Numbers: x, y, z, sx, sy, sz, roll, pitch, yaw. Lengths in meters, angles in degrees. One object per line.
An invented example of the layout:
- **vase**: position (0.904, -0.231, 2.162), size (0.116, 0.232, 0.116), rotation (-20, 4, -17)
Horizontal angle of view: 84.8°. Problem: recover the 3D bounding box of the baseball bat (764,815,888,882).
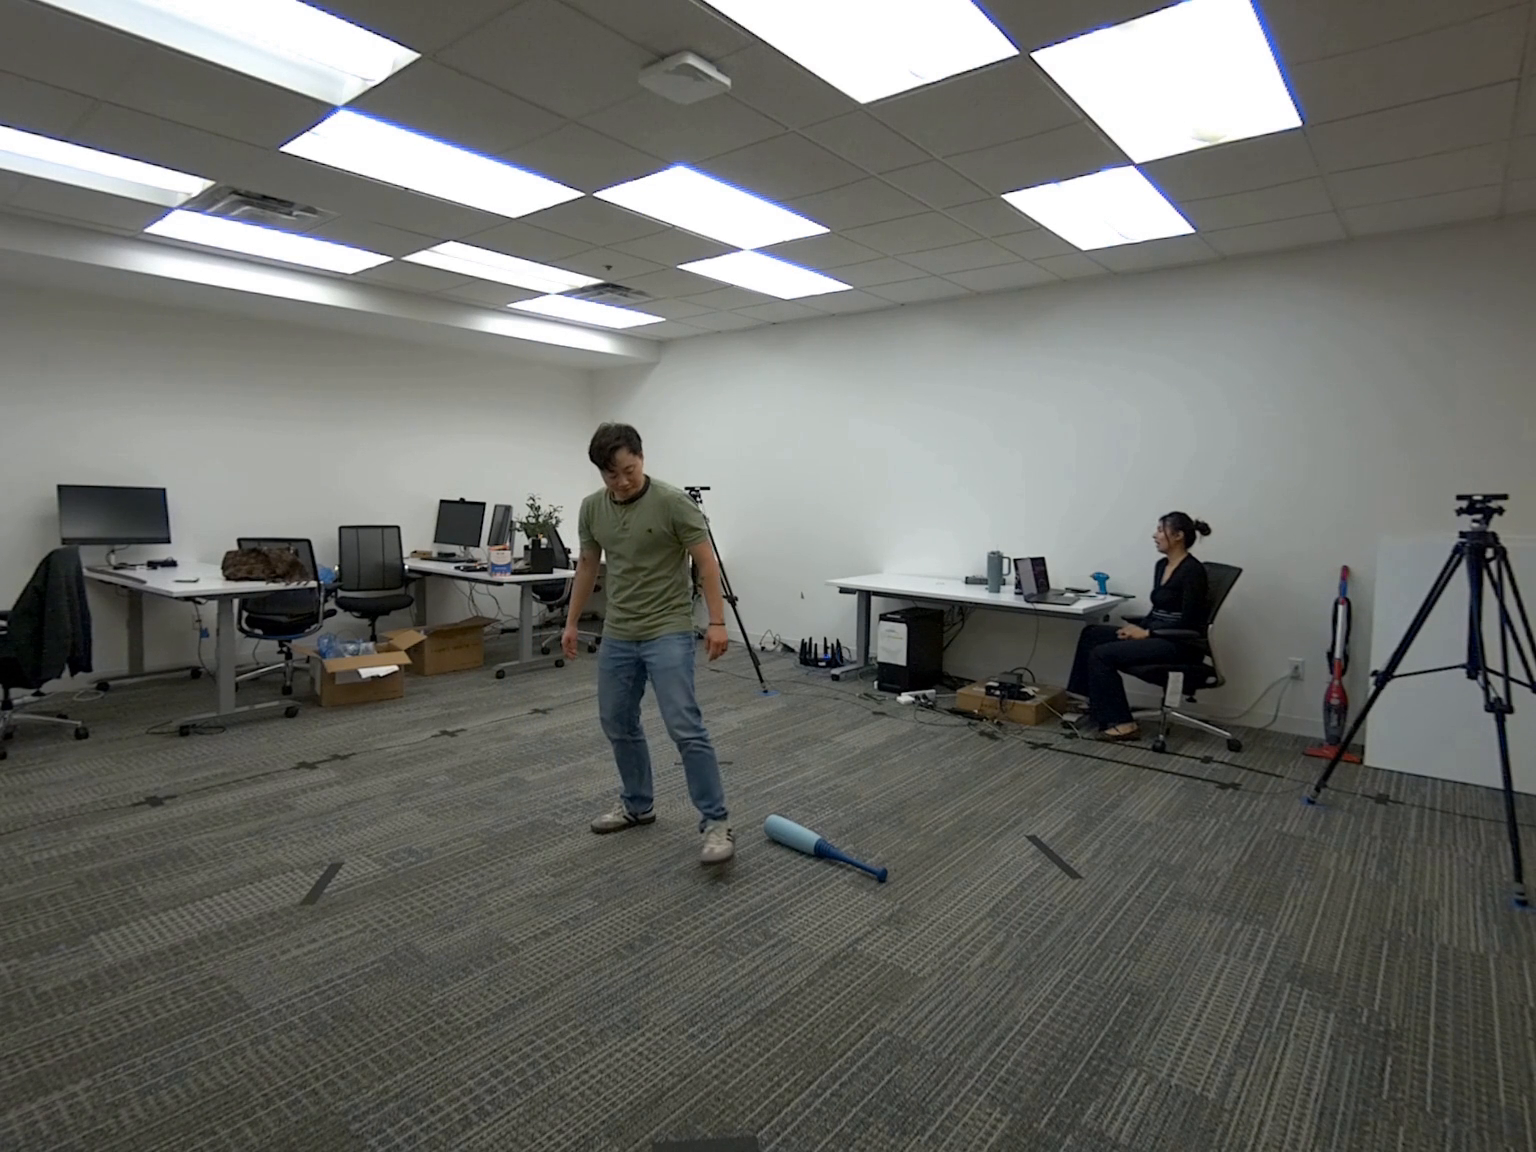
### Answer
- **baseball bat**: position (0.202, 1.026, 3.210), size (0.563, 0.088, 0.086), rotation (11, 9, 40)
